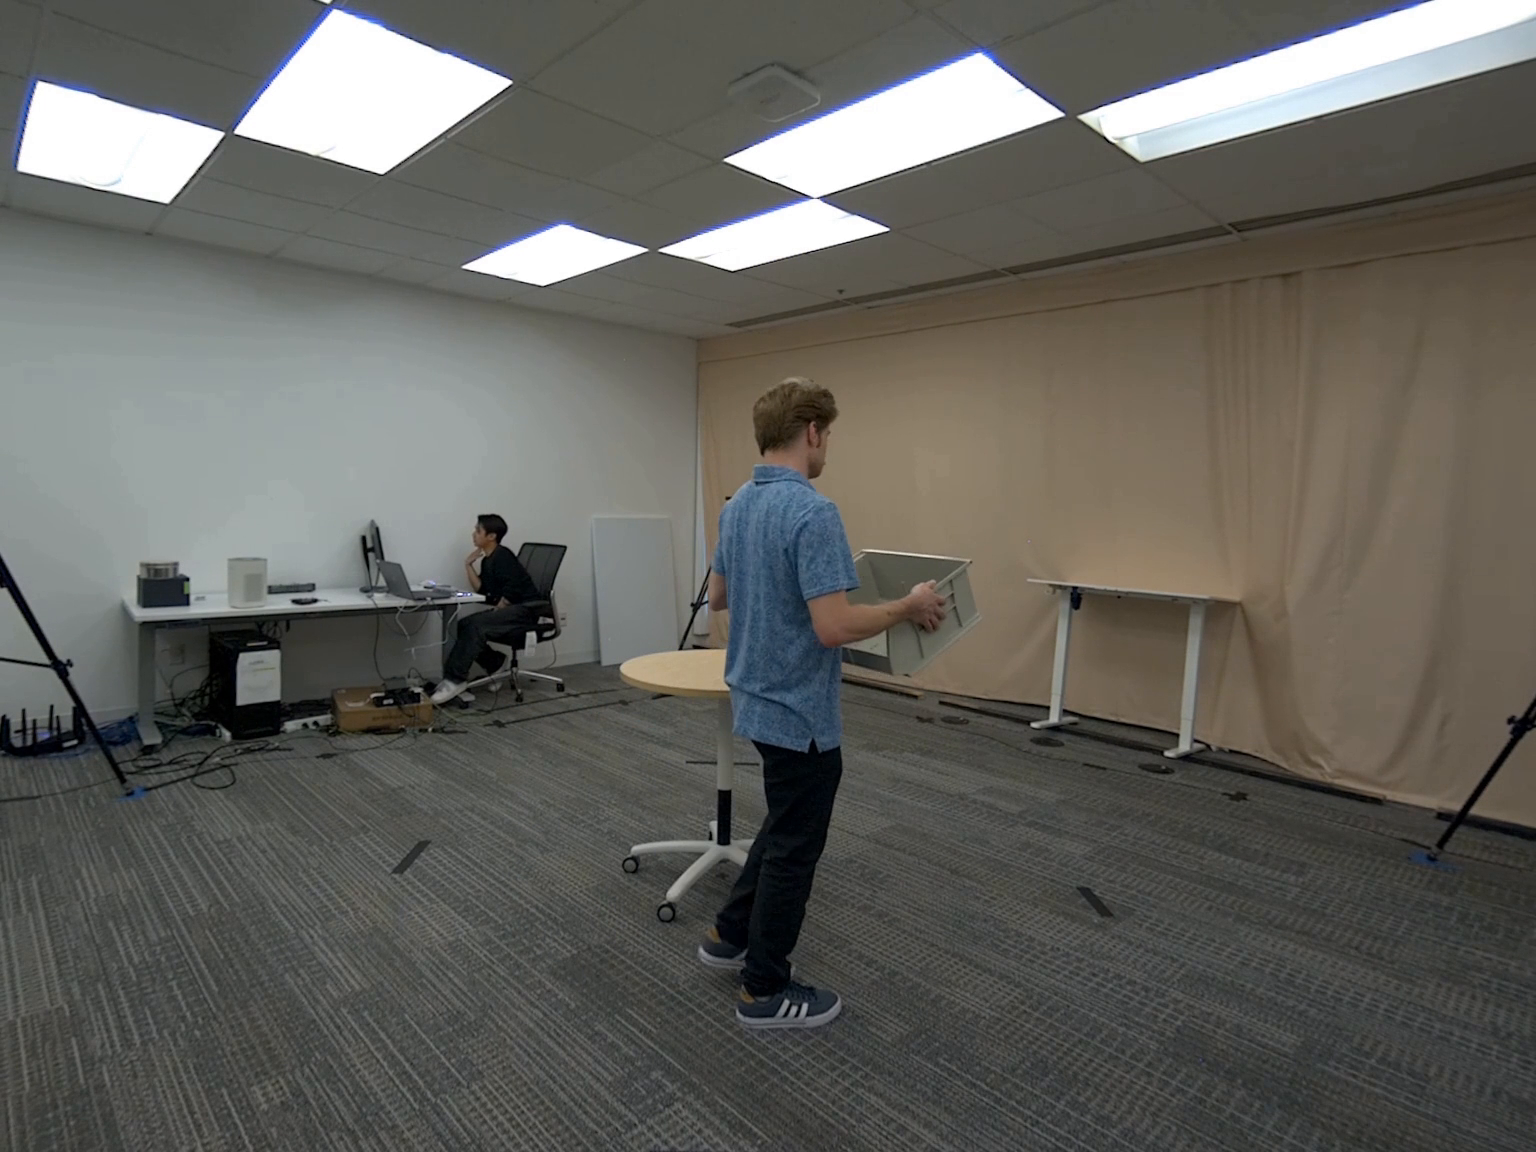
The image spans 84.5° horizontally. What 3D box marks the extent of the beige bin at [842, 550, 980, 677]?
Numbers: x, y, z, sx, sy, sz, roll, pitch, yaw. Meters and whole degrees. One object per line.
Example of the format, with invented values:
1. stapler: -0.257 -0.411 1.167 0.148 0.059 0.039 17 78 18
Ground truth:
1. beige bin: 0.312 0.103 2.395 0.374 0.186 0.433 -31 23 -30
